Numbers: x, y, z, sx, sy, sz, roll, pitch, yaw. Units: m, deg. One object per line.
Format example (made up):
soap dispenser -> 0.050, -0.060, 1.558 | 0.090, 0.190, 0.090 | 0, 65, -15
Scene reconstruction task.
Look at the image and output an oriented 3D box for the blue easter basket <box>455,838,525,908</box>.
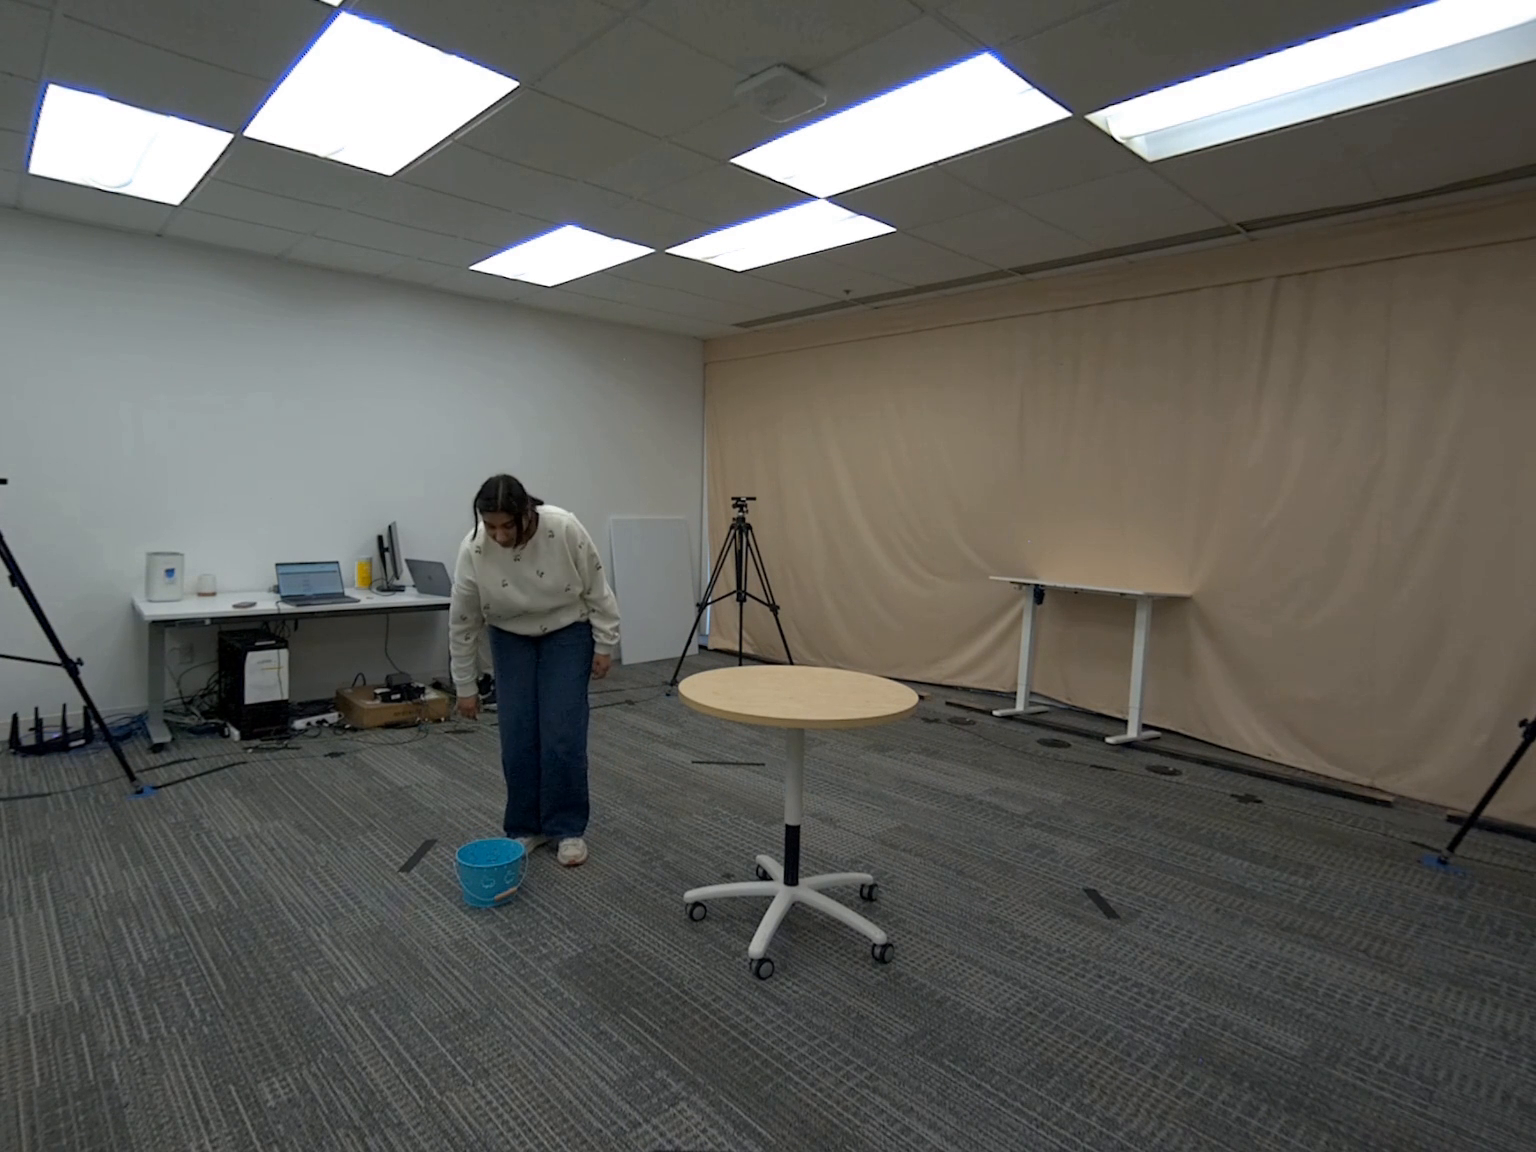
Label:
blue easter basket -> -0.982, 1.032, 2.909 | 0.243, 0.155, 0.244 | 1, 4, -1
